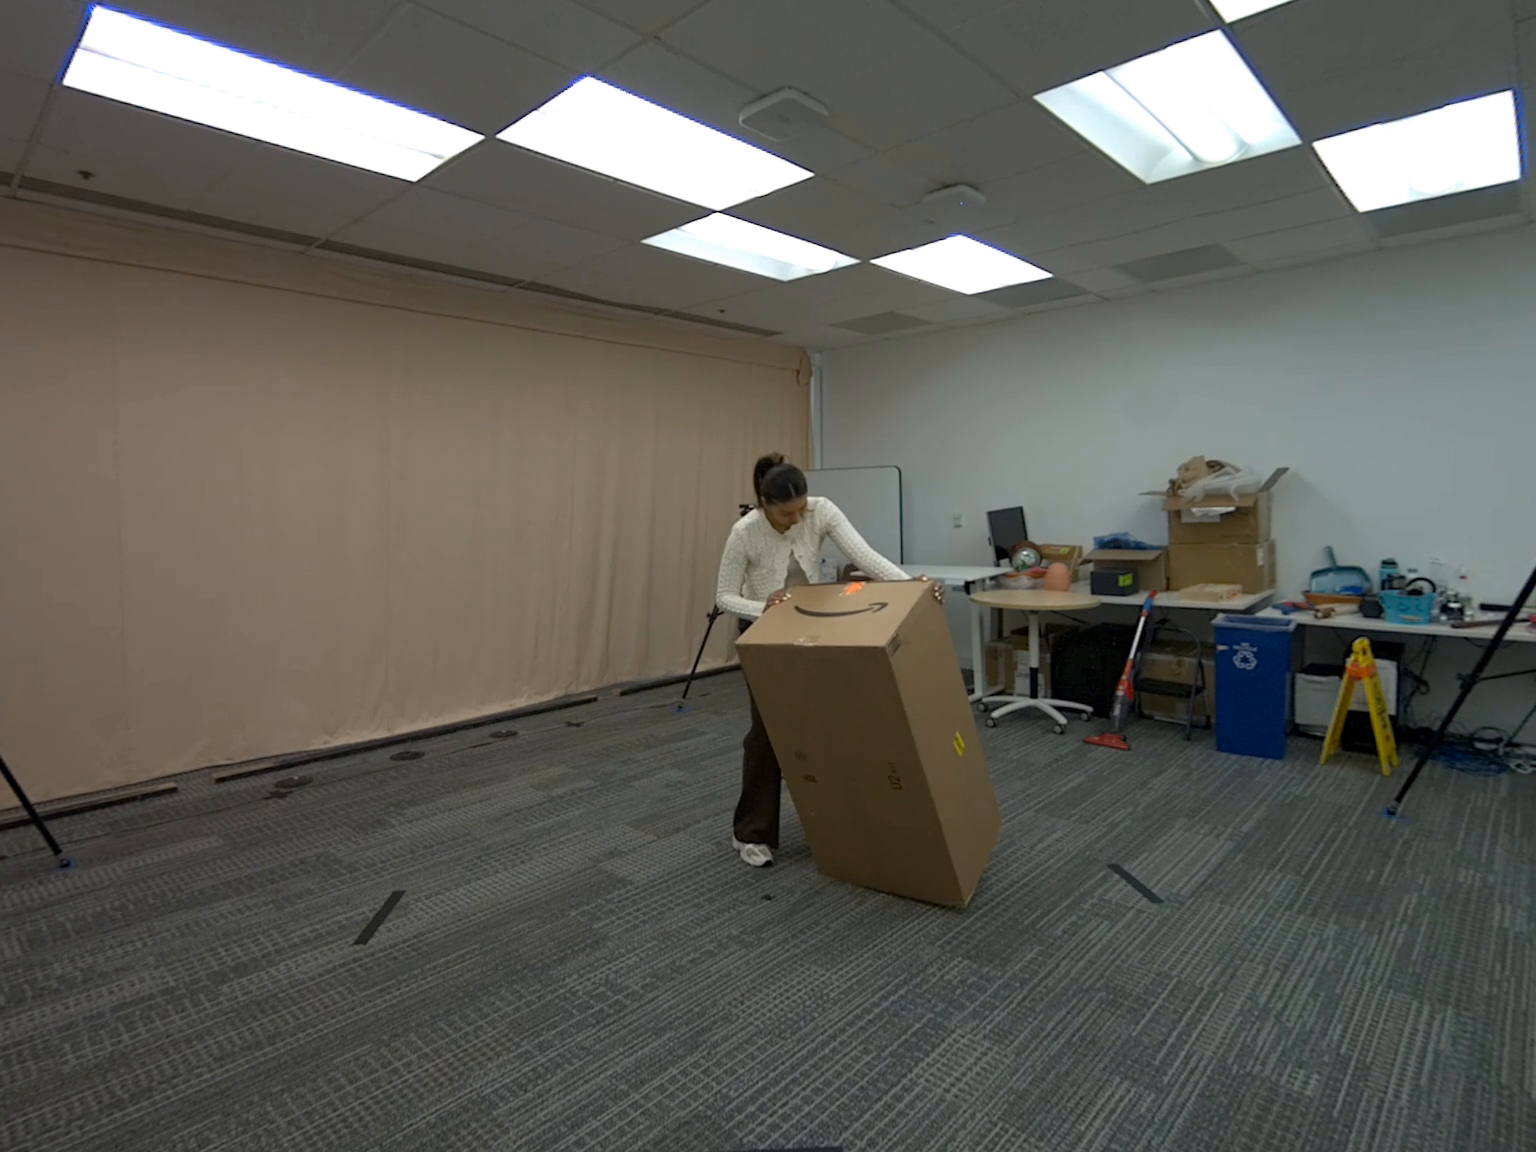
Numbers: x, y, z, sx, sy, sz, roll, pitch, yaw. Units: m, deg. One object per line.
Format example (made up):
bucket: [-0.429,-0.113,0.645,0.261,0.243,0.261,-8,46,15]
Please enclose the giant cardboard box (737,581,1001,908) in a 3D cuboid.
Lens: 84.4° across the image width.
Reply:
giant cardboard box: [0.388,0.577,2.970,0.595,1.008,0.421,-4,24,37]
